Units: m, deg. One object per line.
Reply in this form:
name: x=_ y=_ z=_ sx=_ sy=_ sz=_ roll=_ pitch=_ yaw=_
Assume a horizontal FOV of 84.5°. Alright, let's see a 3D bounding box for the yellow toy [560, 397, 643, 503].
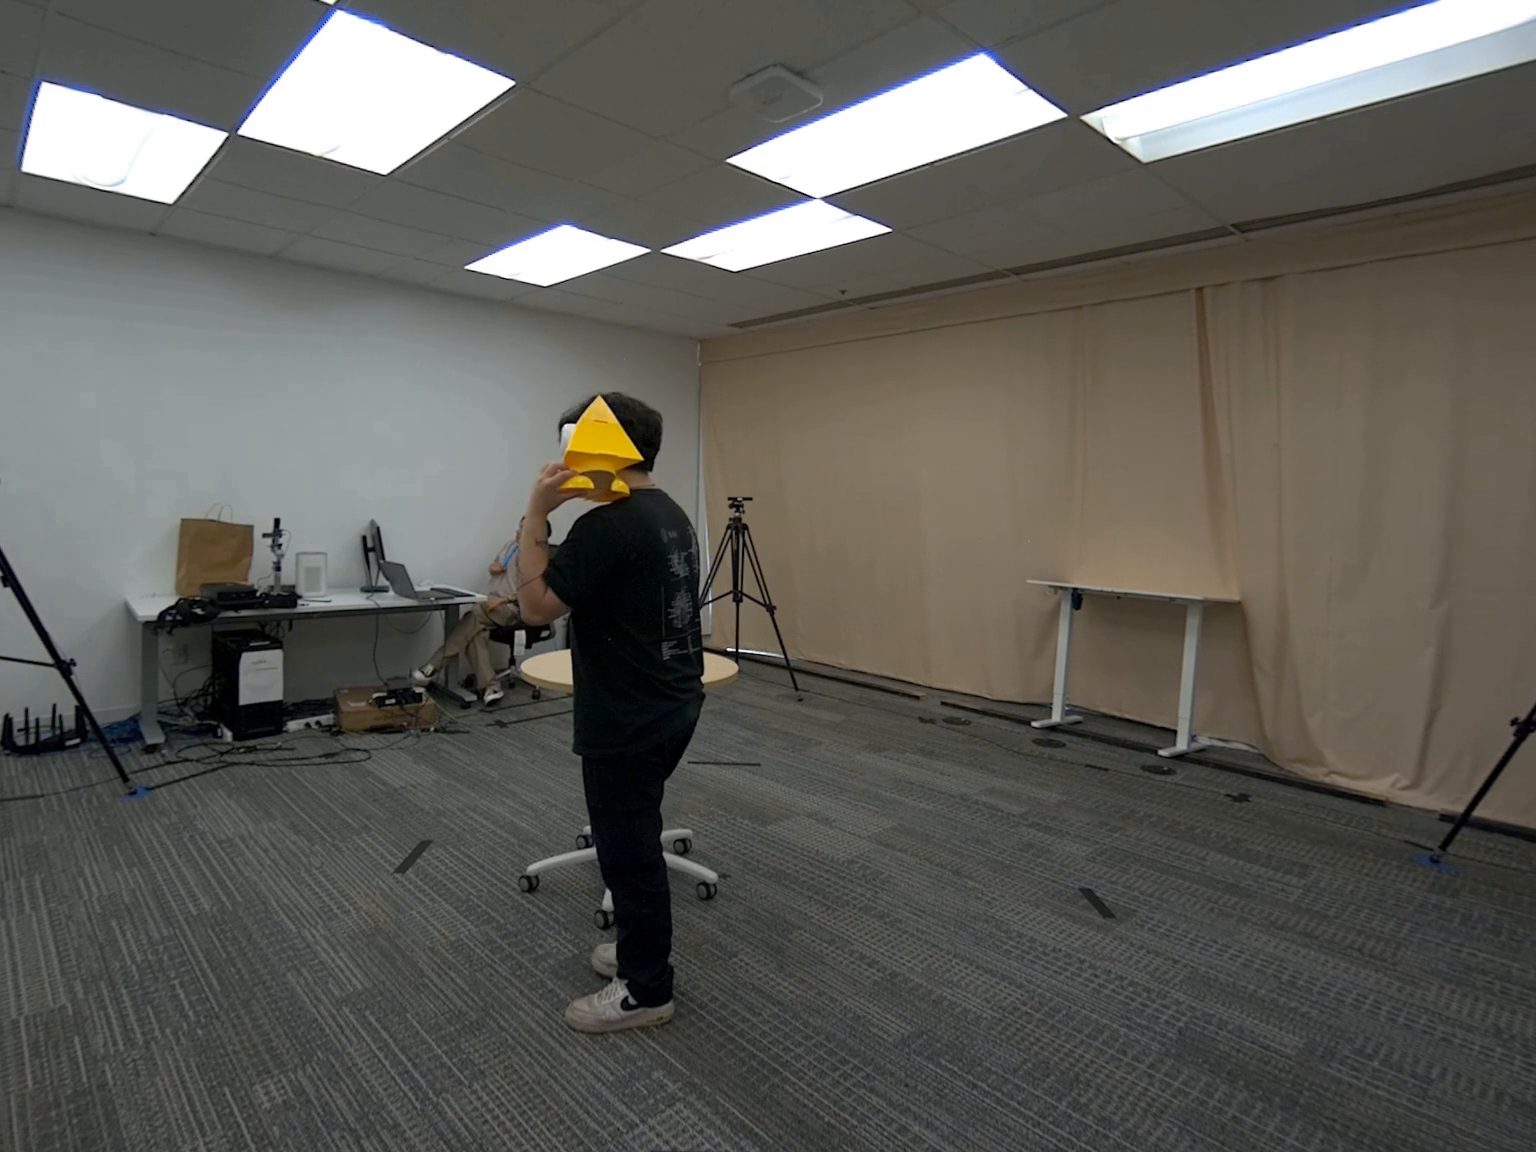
yellow toy: x=-0.457 y=-0.312 z=2.047 sx=0.200 sy=0.232 sz=0.197 roll=3 pitch=-8 yaw=-40
